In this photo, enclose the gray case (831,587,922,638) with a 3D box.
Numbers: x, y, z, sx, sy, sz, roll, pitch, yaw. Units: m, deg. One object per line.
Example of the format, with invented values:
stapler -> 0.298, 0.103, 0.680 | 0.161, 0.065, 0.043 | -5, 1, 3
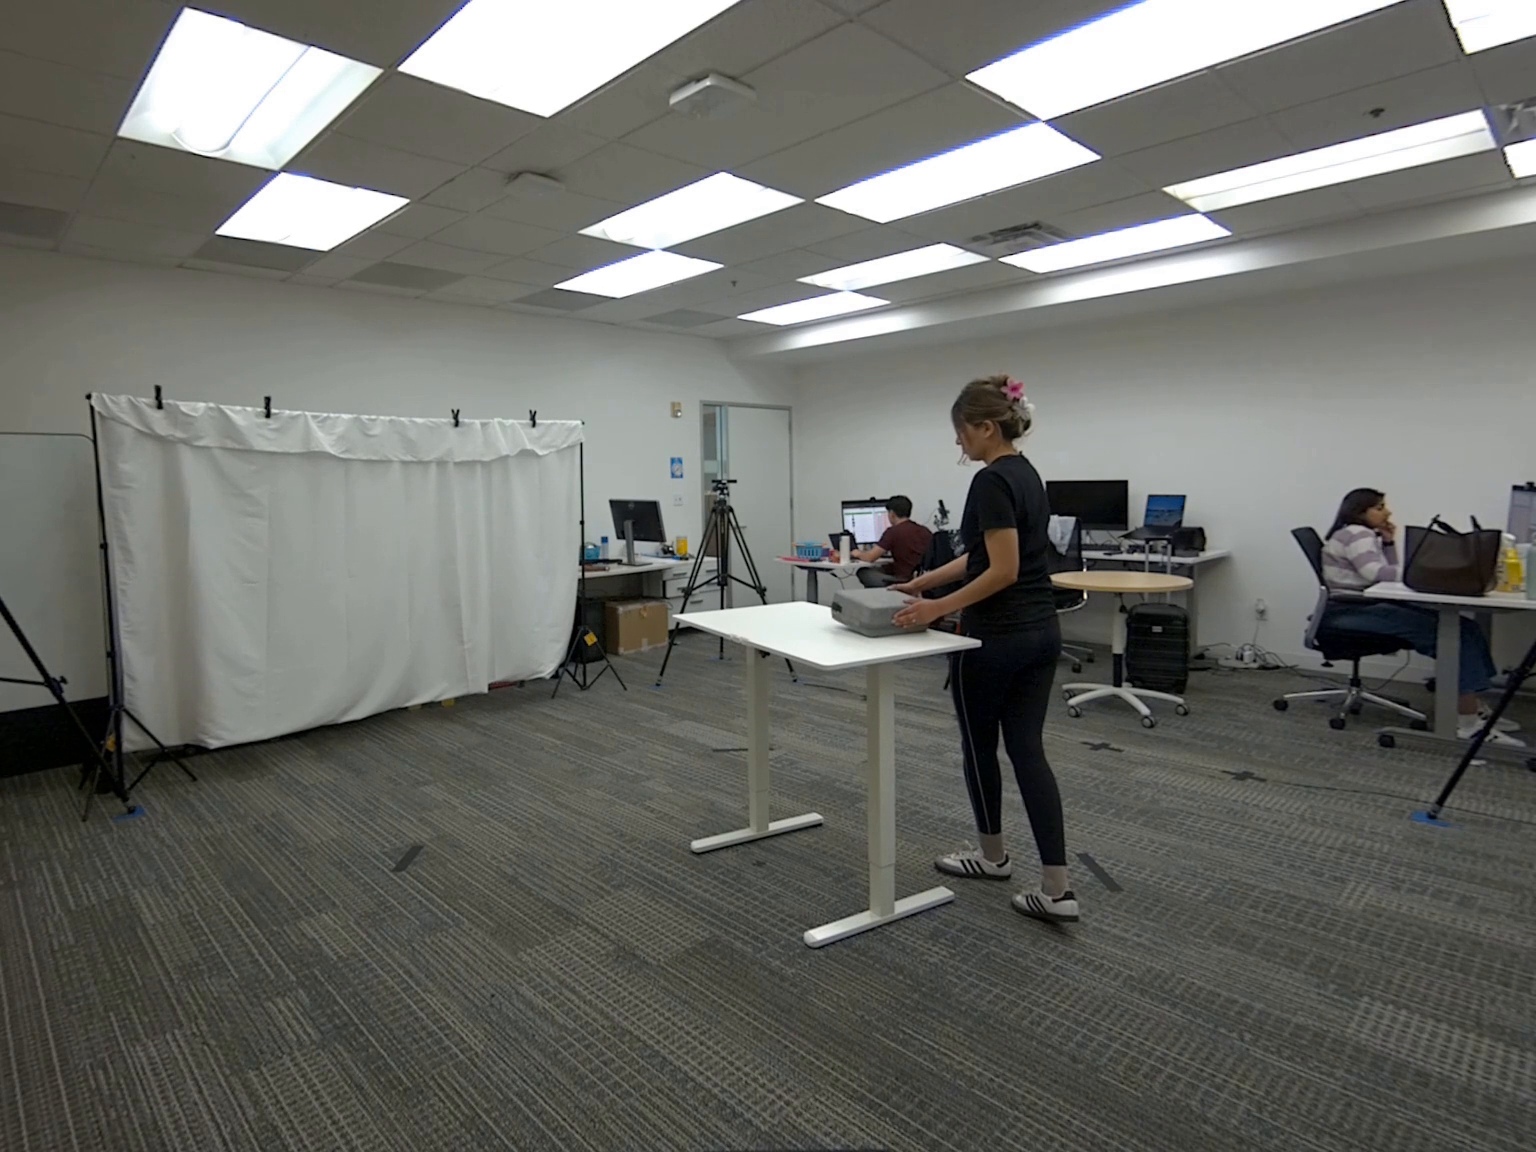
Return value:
gray case -> 0.384, 0.118, 2.884 | 0.255, 0.103, 0.264 | -3, 11, -25
